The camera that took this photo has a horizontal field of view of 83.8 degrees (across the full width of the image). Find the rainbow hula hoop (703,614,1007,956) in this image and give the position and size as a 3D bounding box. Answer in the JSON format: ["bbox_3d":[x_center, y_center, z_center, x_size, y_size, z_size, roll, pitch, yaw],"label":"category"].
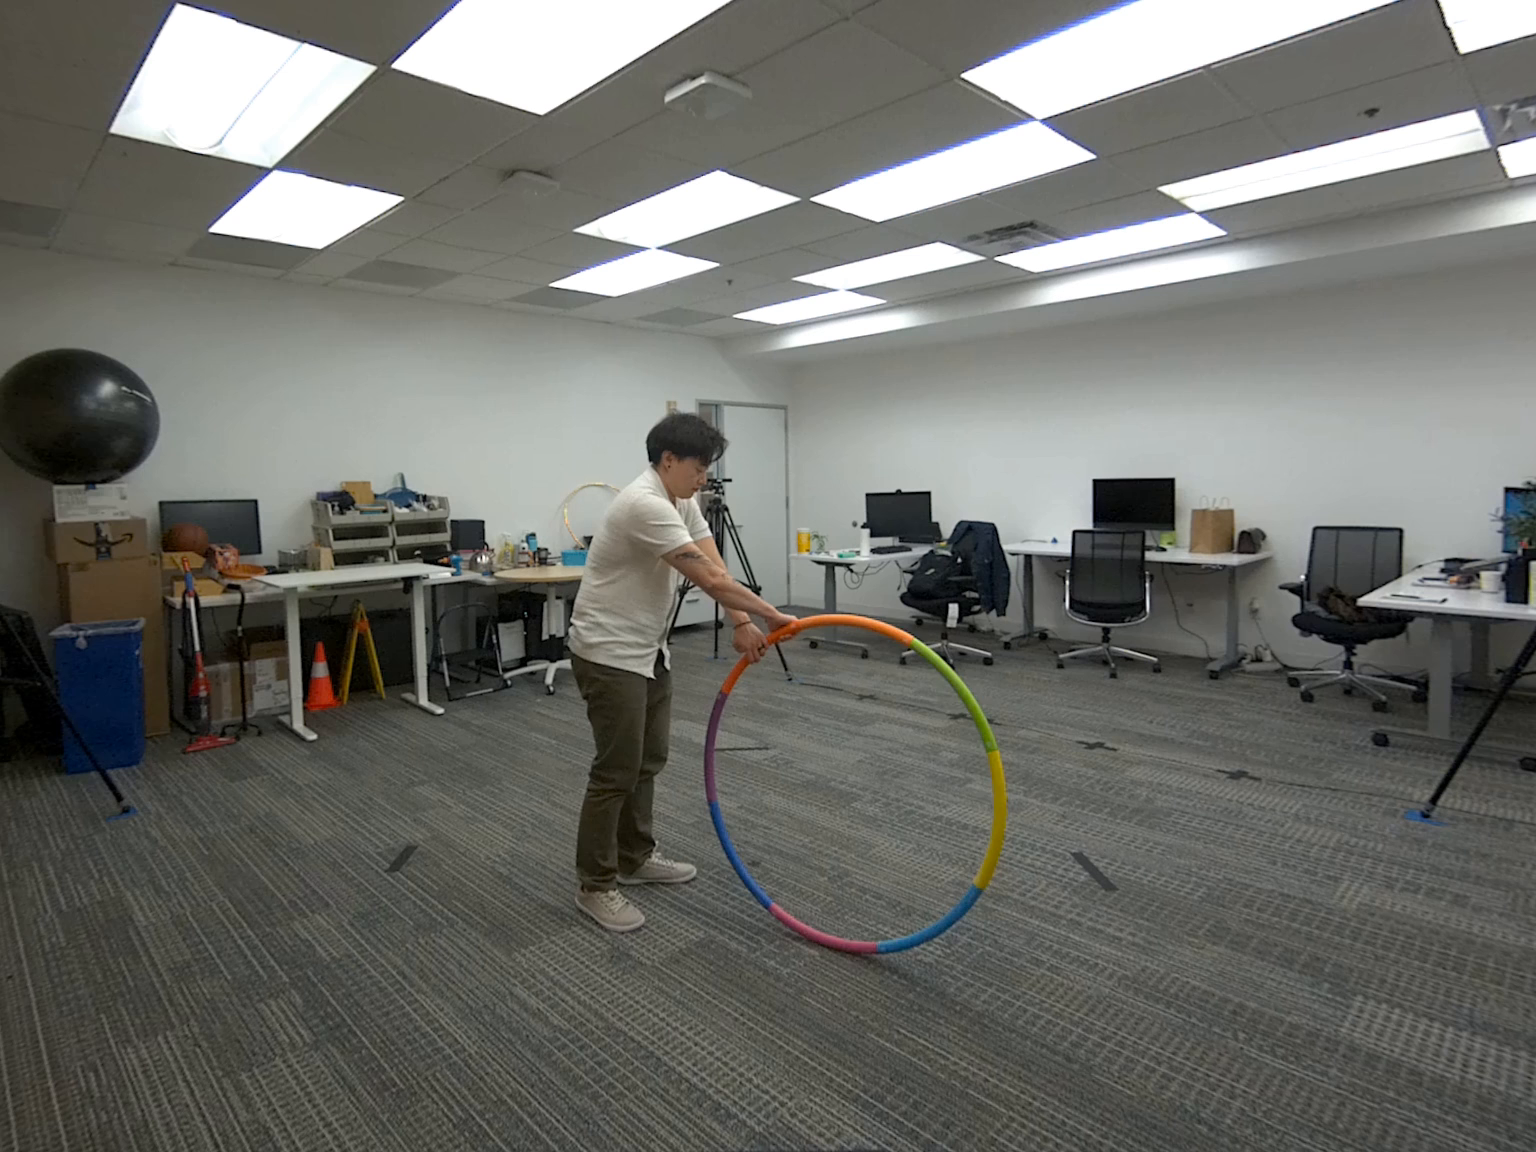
[{"bbox_3d":[0.211,0.616,2.576,1.005,0.982,0.034,2,-4,33],"label":"rainbow hula hoop"}]
